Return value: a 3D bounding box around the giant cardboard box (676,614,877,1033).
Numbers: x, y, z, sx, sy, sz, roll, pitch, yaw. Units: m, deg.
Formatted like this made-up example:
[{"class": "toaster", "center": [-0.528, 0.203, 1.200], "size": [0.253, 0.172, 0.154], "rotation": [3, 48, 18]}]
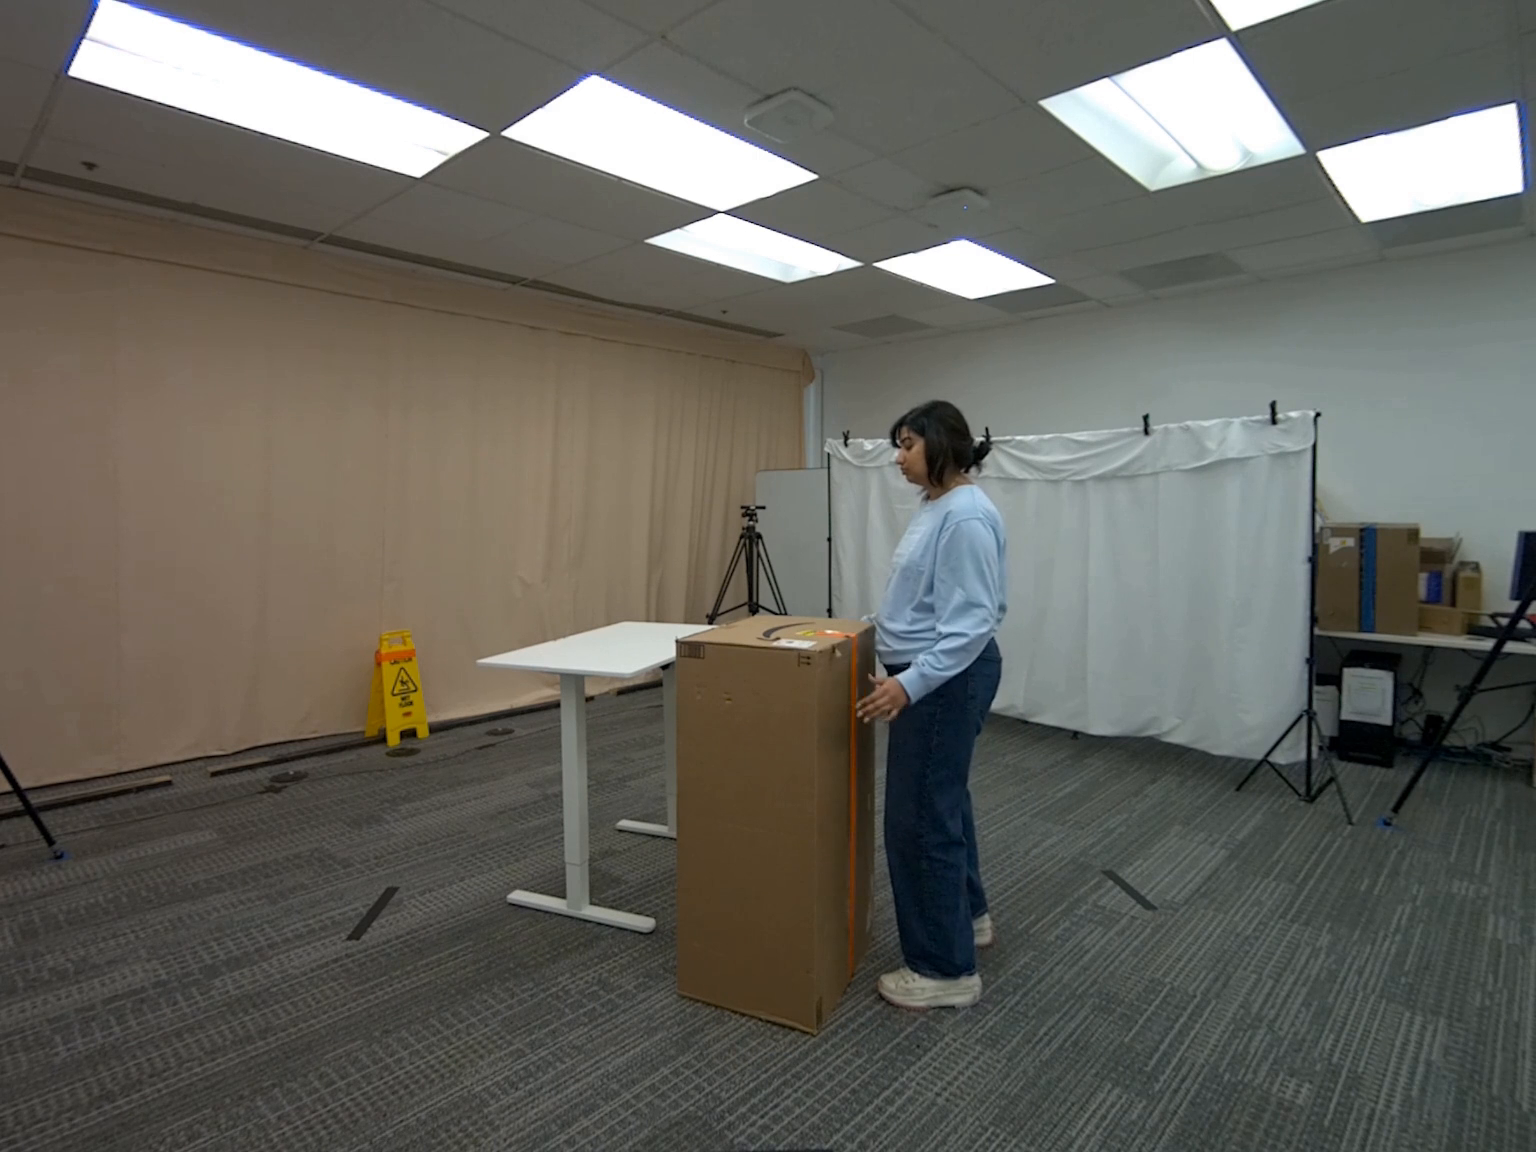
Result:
[{"class": "giant cardboard box", "center": [0.041, 0.676, 2.531], "size": [0.437, 1.024, 0.564], "rotation": [1, 3, 24]}]
